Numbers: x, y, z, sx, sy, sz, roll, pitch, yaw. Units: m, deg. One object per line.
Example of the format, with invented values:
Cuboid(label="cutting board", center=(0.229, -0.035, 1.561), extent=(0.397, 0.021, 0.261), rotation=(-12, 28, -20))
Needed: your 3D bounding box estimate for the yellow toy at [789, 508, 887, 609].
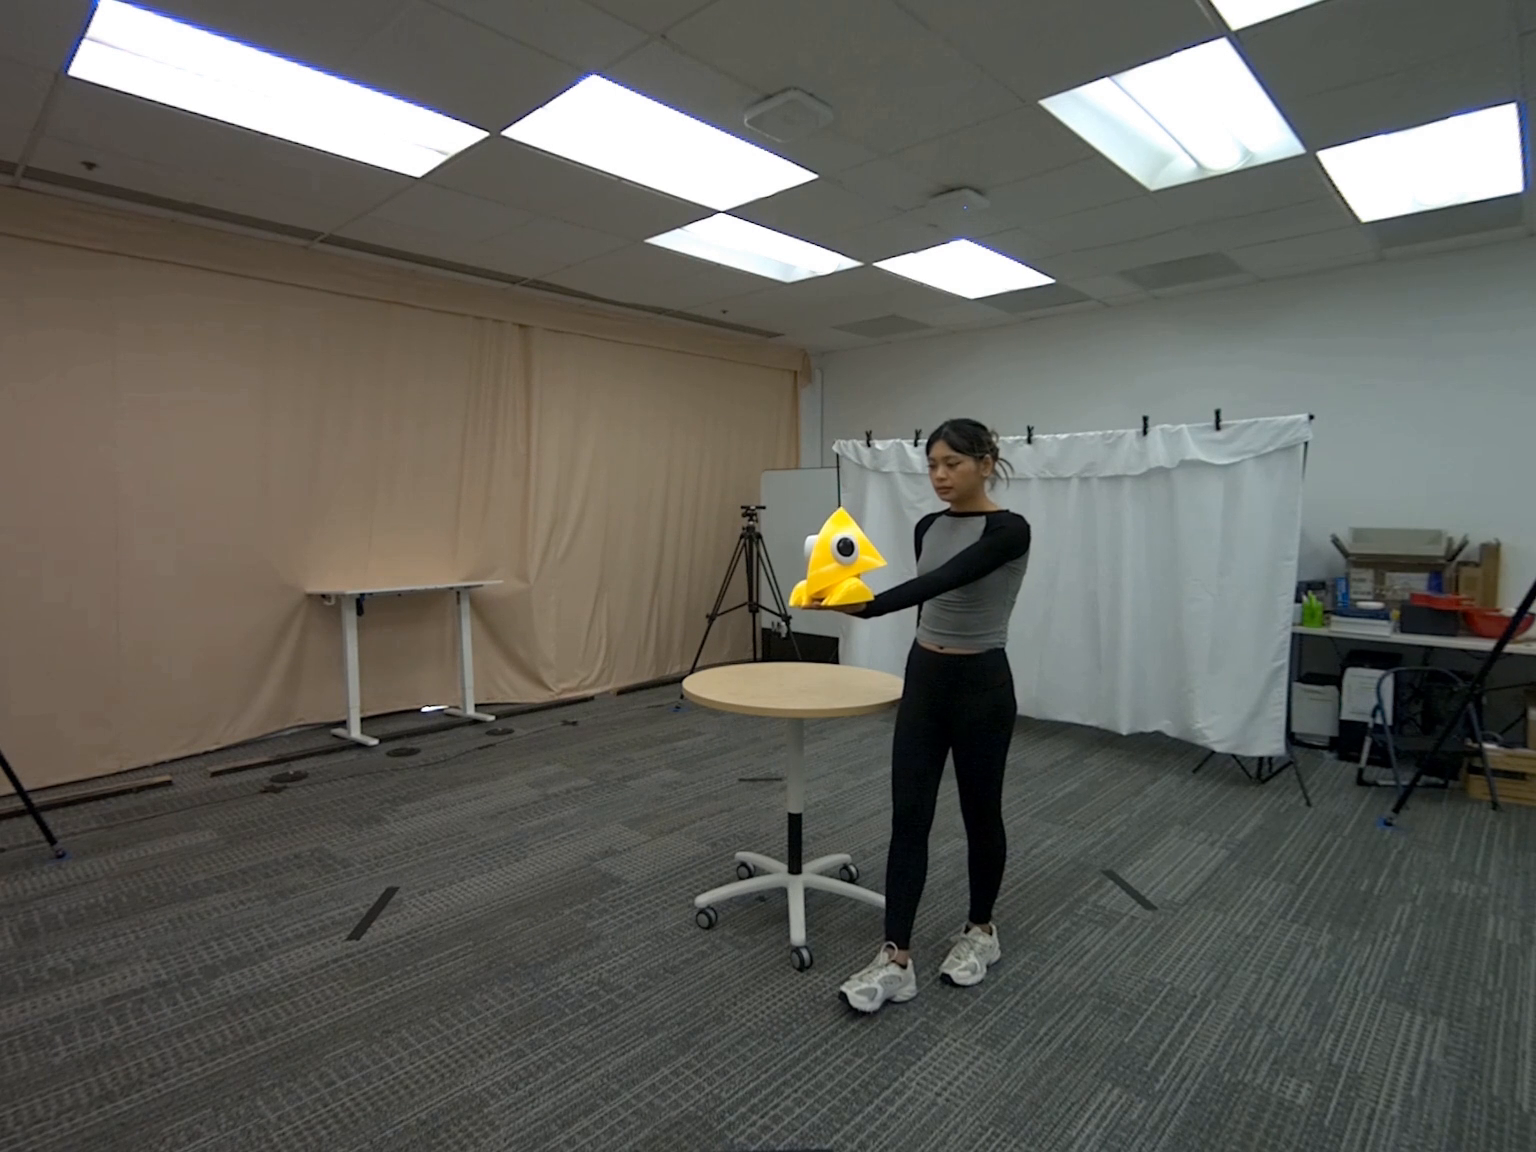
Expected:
Cuboid(label="yellow toy", center=(0.162, -0.051, 2.060), extent=(0.187, 0.230, 0.211), rotation=(-6, 1, -43))
